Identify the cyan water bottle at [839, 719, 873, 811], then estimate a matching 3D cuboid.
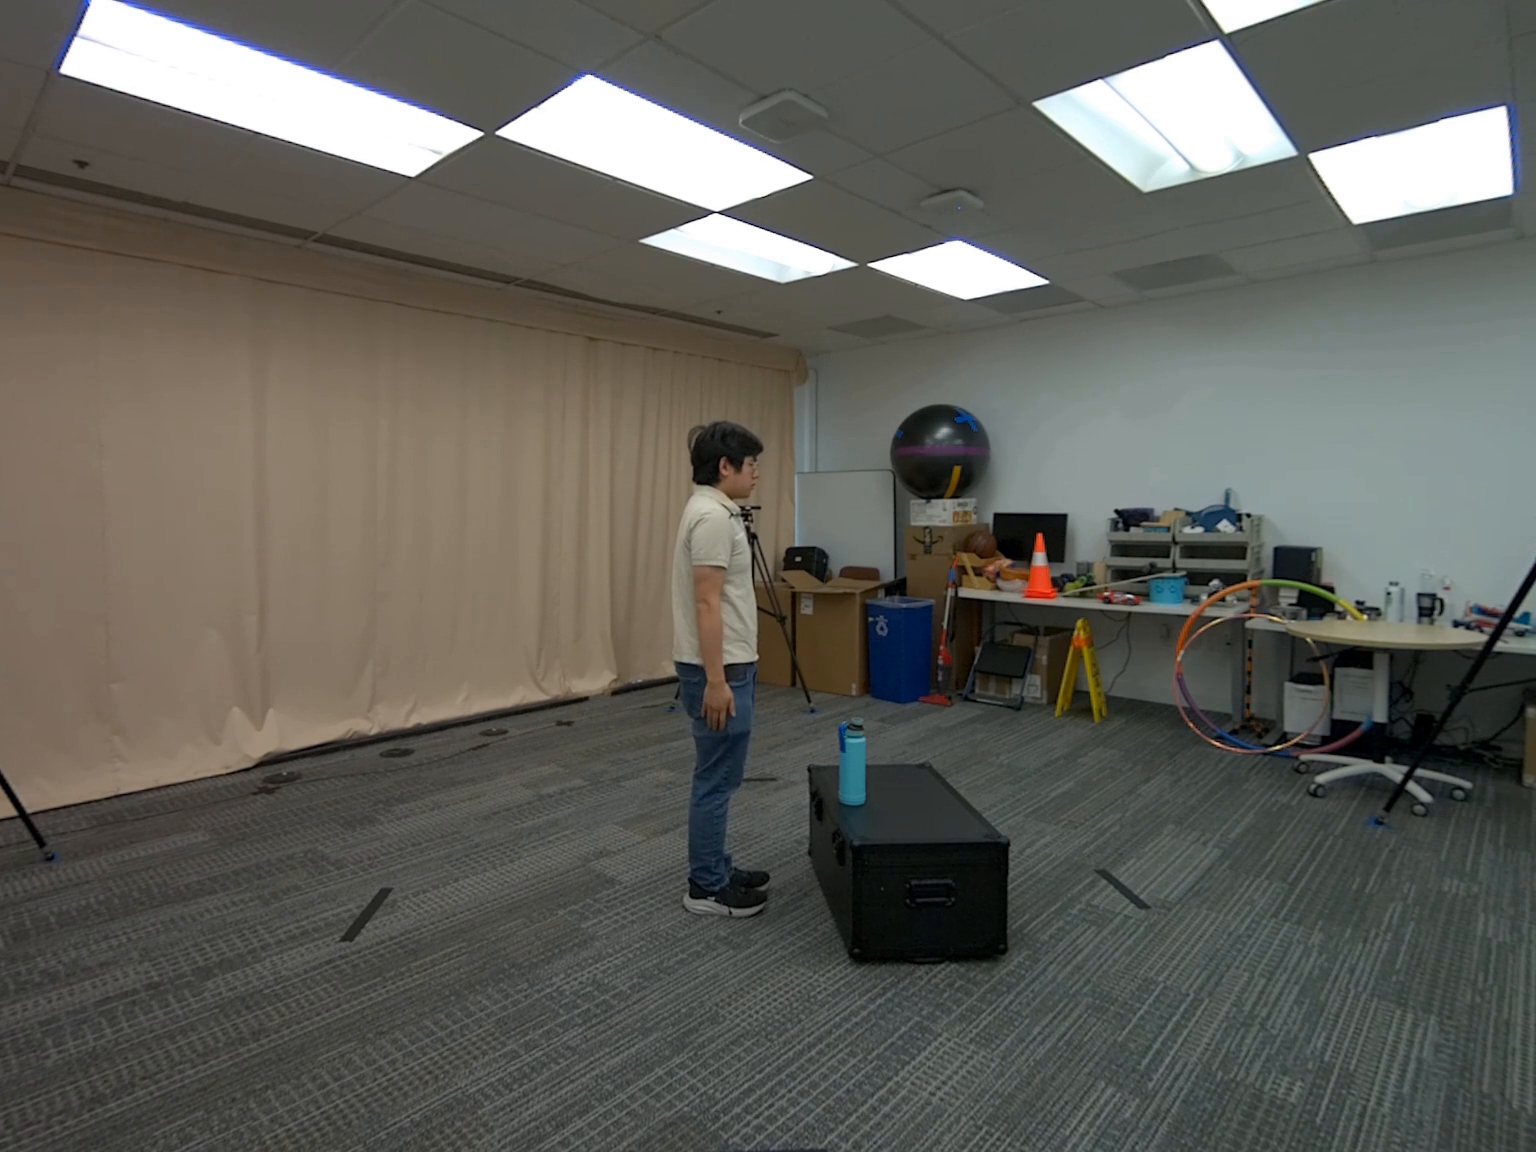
[{"bbox_3d":[0.296,0.639,2.875,0.092,0.283,0.092,-1,3,-2],"label":"cyan water bottle"}]
